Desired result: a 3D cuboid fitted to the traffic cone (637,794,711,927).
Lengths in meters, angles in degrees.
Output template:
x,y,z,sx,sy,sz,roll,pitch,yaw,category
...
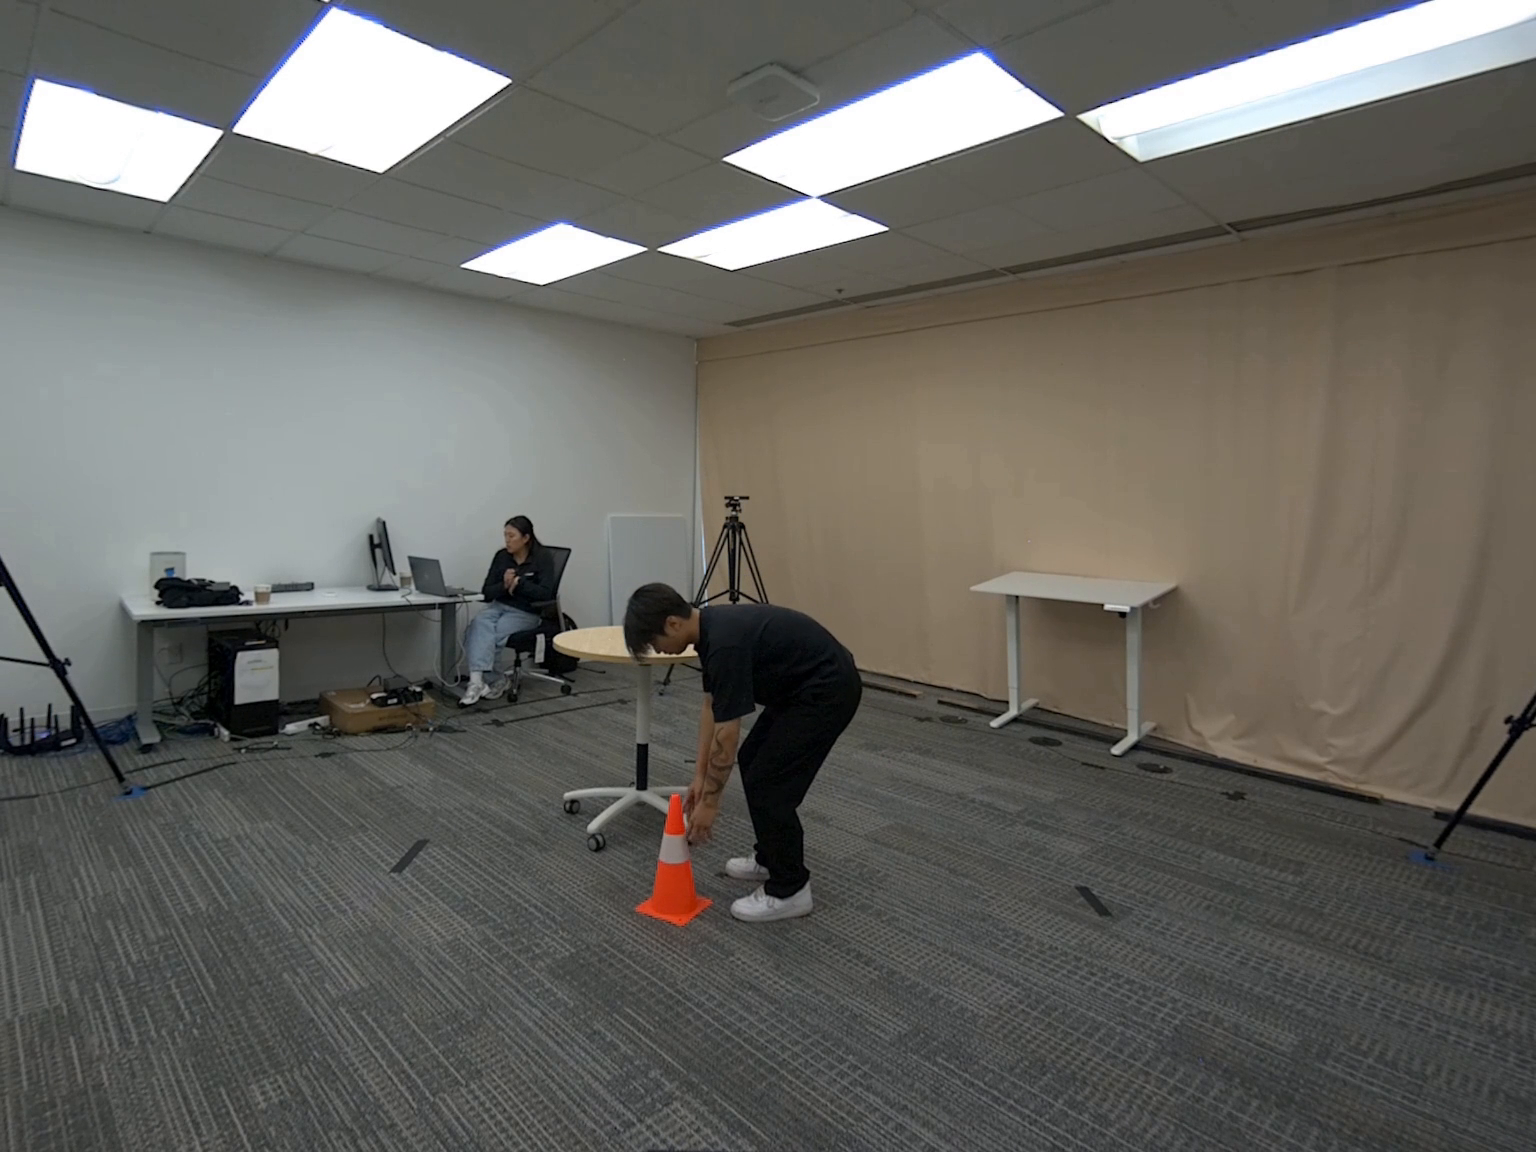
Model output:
x,y,z,sx,sy,sz,roll,pitch,yaw,category
-0.318,0.934,2.862,0.209,0.383,0.199,2,3,28,traffic cone
